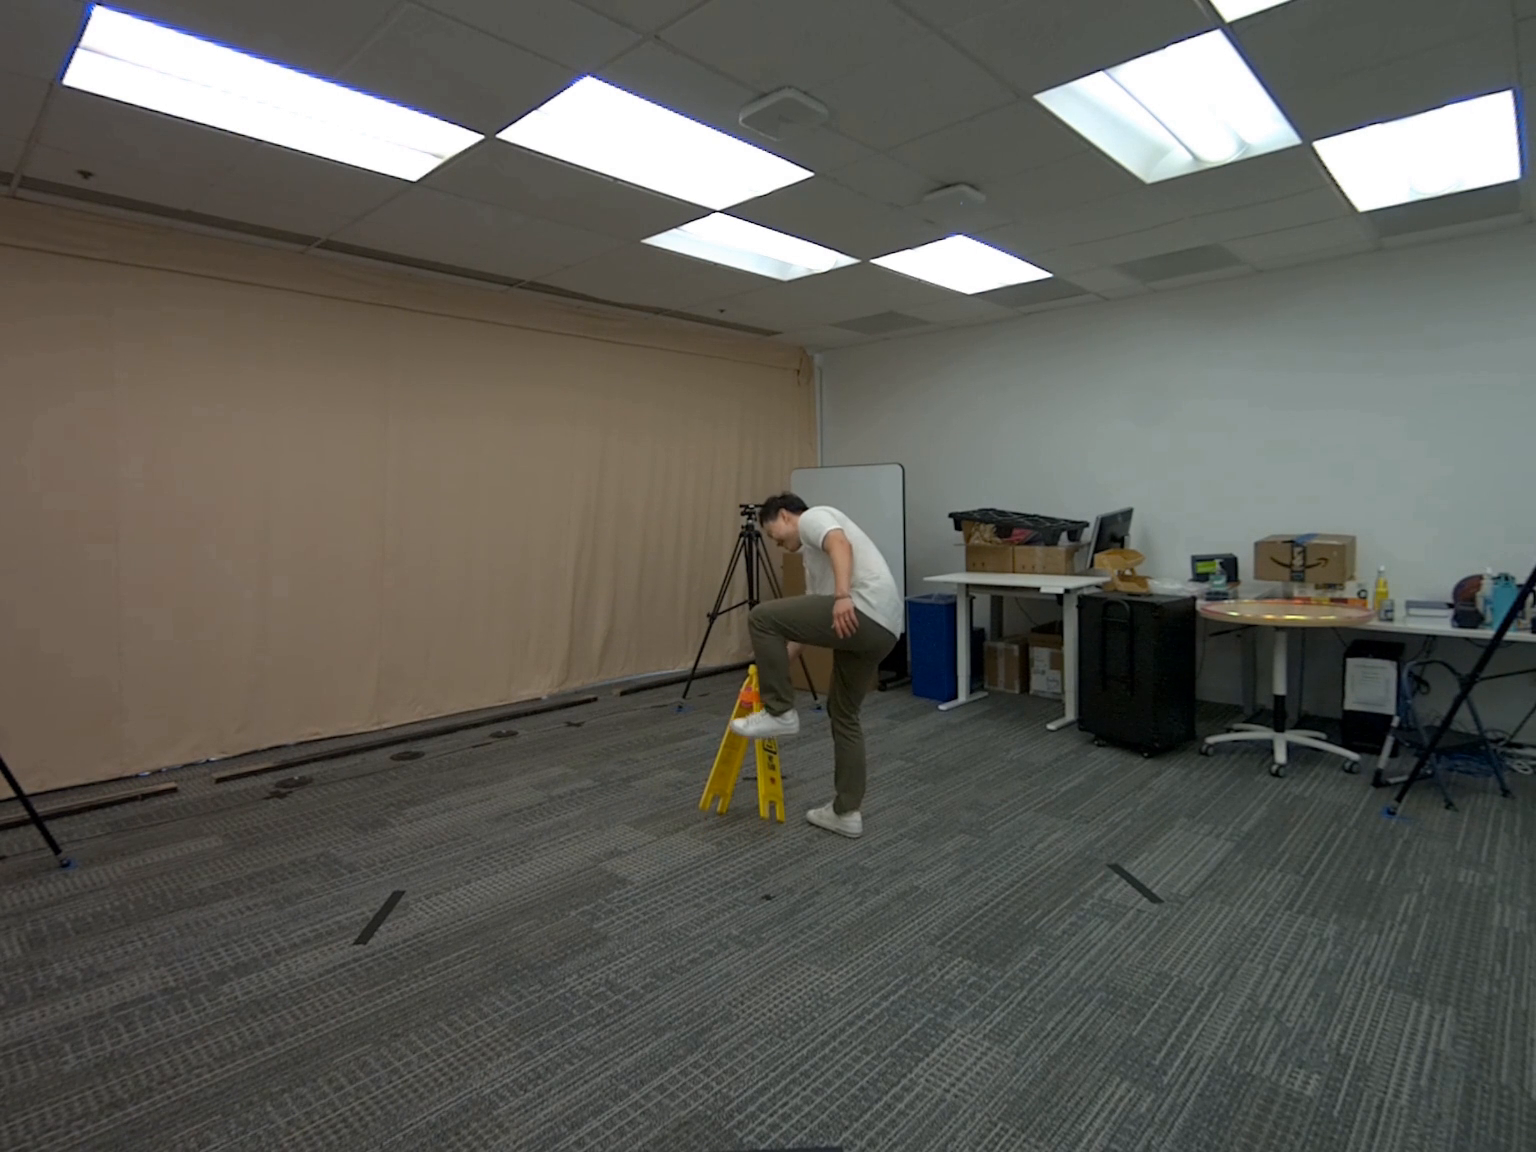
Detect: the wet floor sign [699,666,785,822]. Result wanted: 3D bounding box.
[{"bbox_3d":[-0.077,0.730,3.746,0.296,0.651,0.273,-1,-19,22],"label":"wet floor sign"}]
